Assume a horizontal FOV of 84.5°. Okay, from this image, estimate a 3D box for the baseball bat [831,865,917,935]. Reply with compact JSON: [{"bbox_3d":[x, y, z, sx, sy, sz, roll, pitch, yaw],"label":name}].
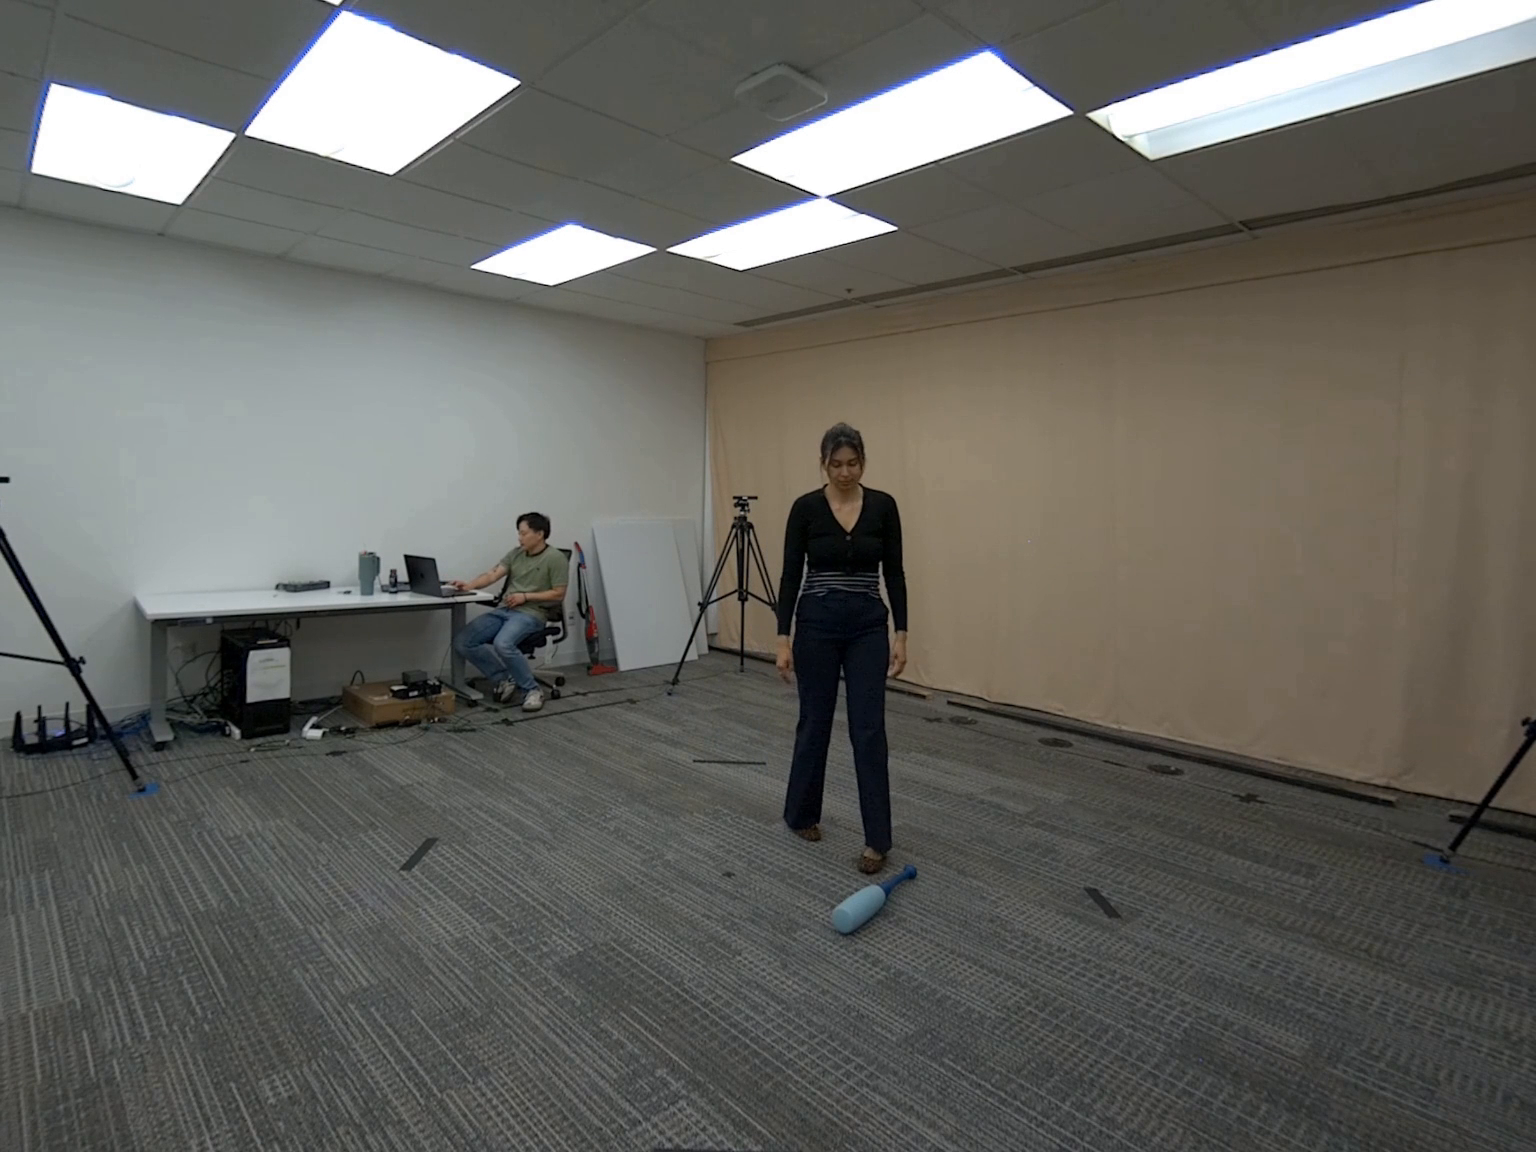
[{"bbox_3d":[0.377,1.102,2.893,0.091,0.089,0.531,4,3,34],"label":"baseball bat"}]
